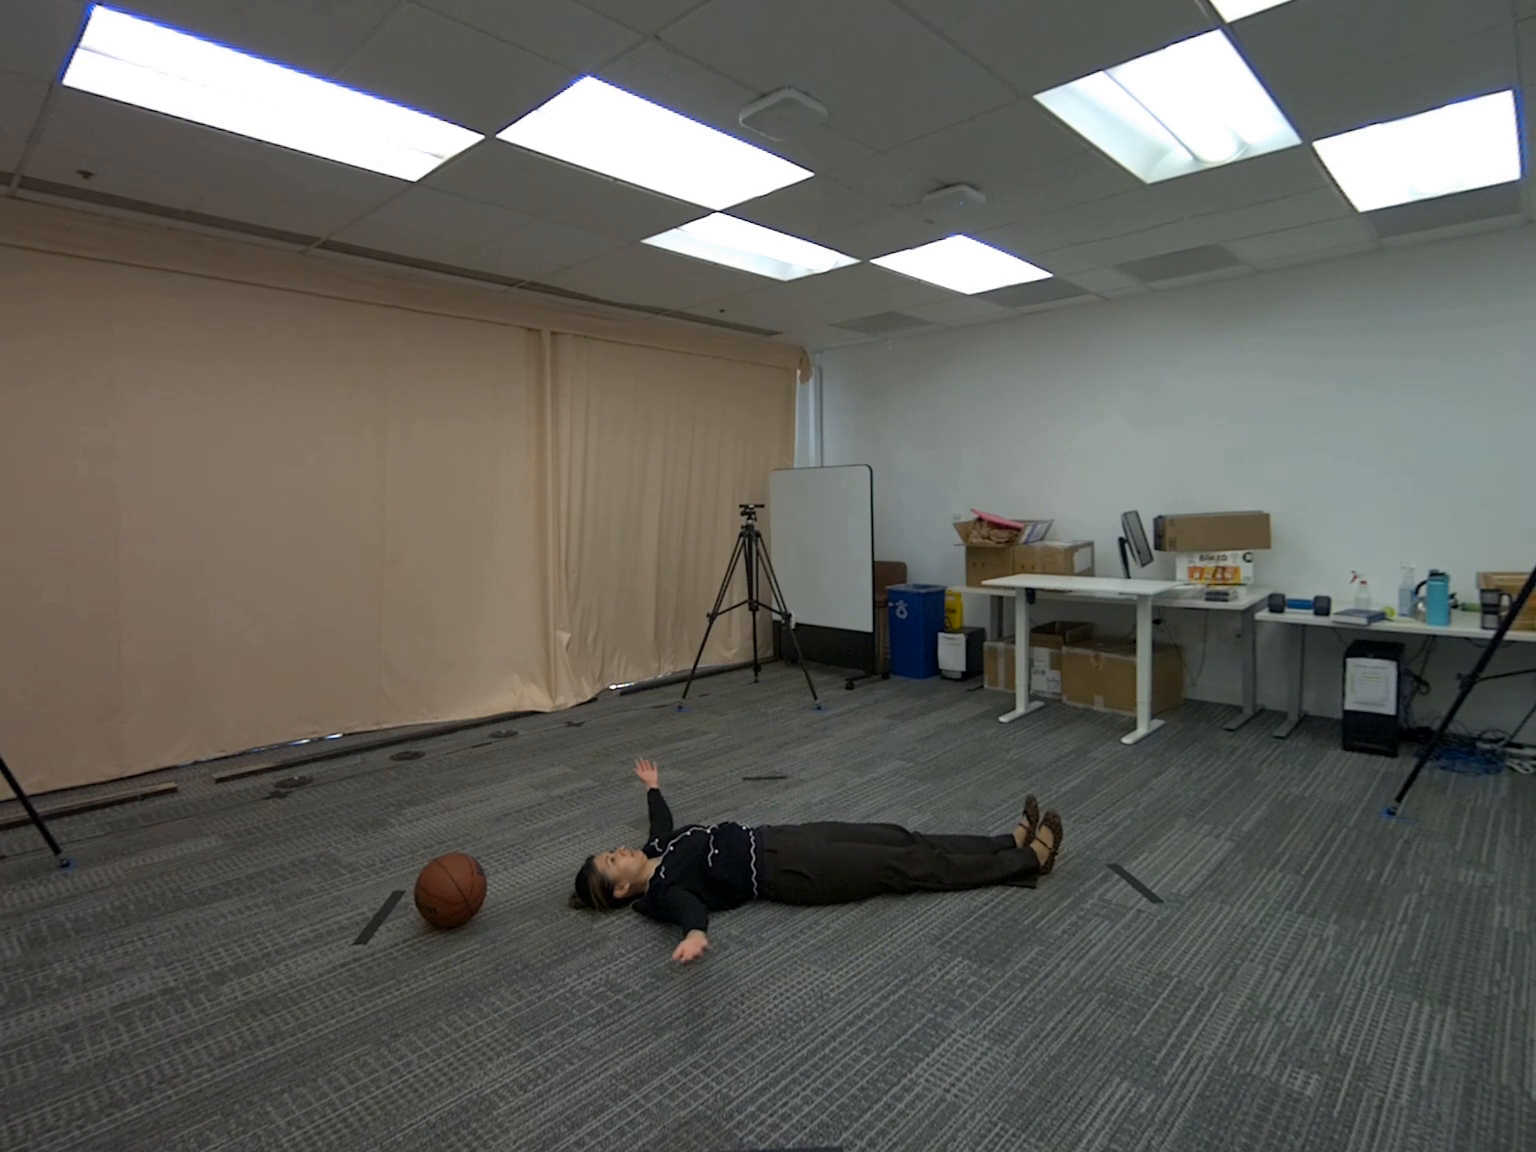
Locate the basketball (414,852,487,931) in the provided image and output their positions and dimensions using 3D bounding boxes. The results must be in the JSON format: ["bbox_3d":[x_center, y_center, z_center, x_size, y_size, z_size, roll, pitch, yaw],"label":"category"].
[{"bbox_3d":[-1.069,1.058,2.838,0.236,0.235,0.237,-1,4,-2],"label":"basketball"}]
